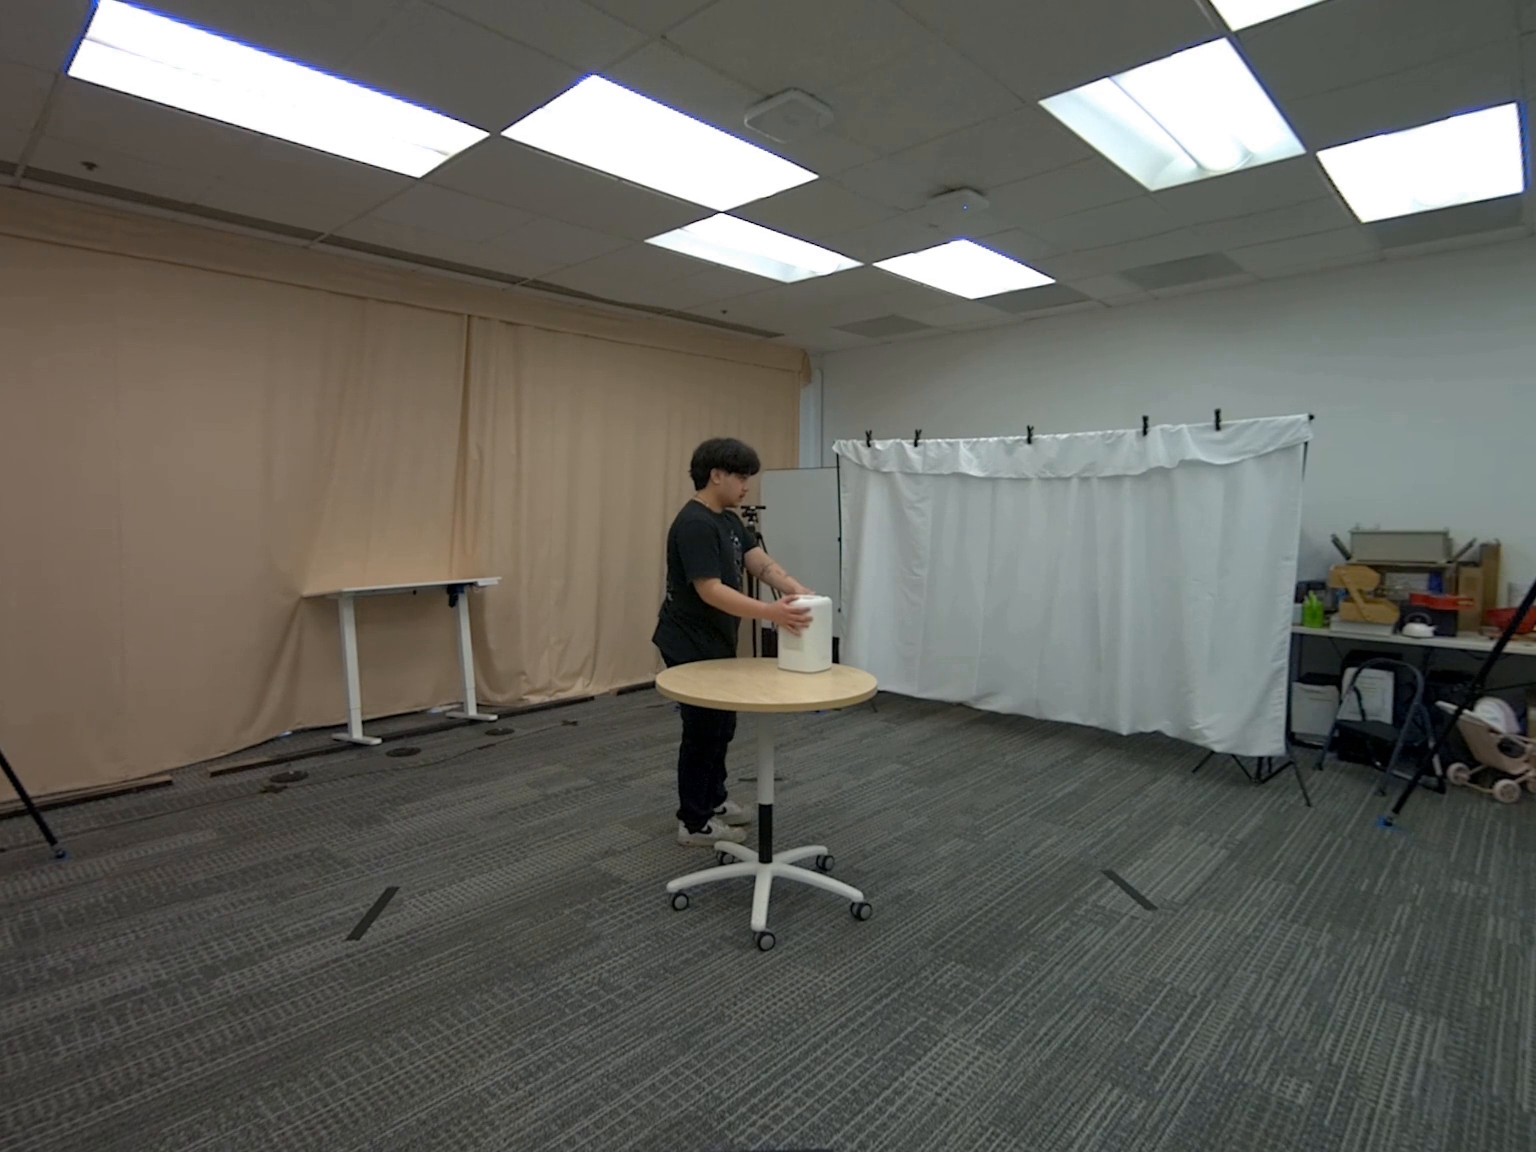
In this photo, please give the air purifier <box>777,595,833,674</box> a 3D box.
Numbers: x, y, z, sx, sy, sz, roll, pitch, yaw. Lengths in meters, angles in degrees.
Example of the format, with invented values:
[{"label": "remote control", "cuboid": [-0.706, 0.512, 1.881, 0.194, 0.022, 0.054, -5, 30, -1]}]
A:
[{"label": "air purifier", "cuboid": [0.139, 0.209, 3.097, 0.177, 0.265, 0.166, 4, 5, 41]}]
